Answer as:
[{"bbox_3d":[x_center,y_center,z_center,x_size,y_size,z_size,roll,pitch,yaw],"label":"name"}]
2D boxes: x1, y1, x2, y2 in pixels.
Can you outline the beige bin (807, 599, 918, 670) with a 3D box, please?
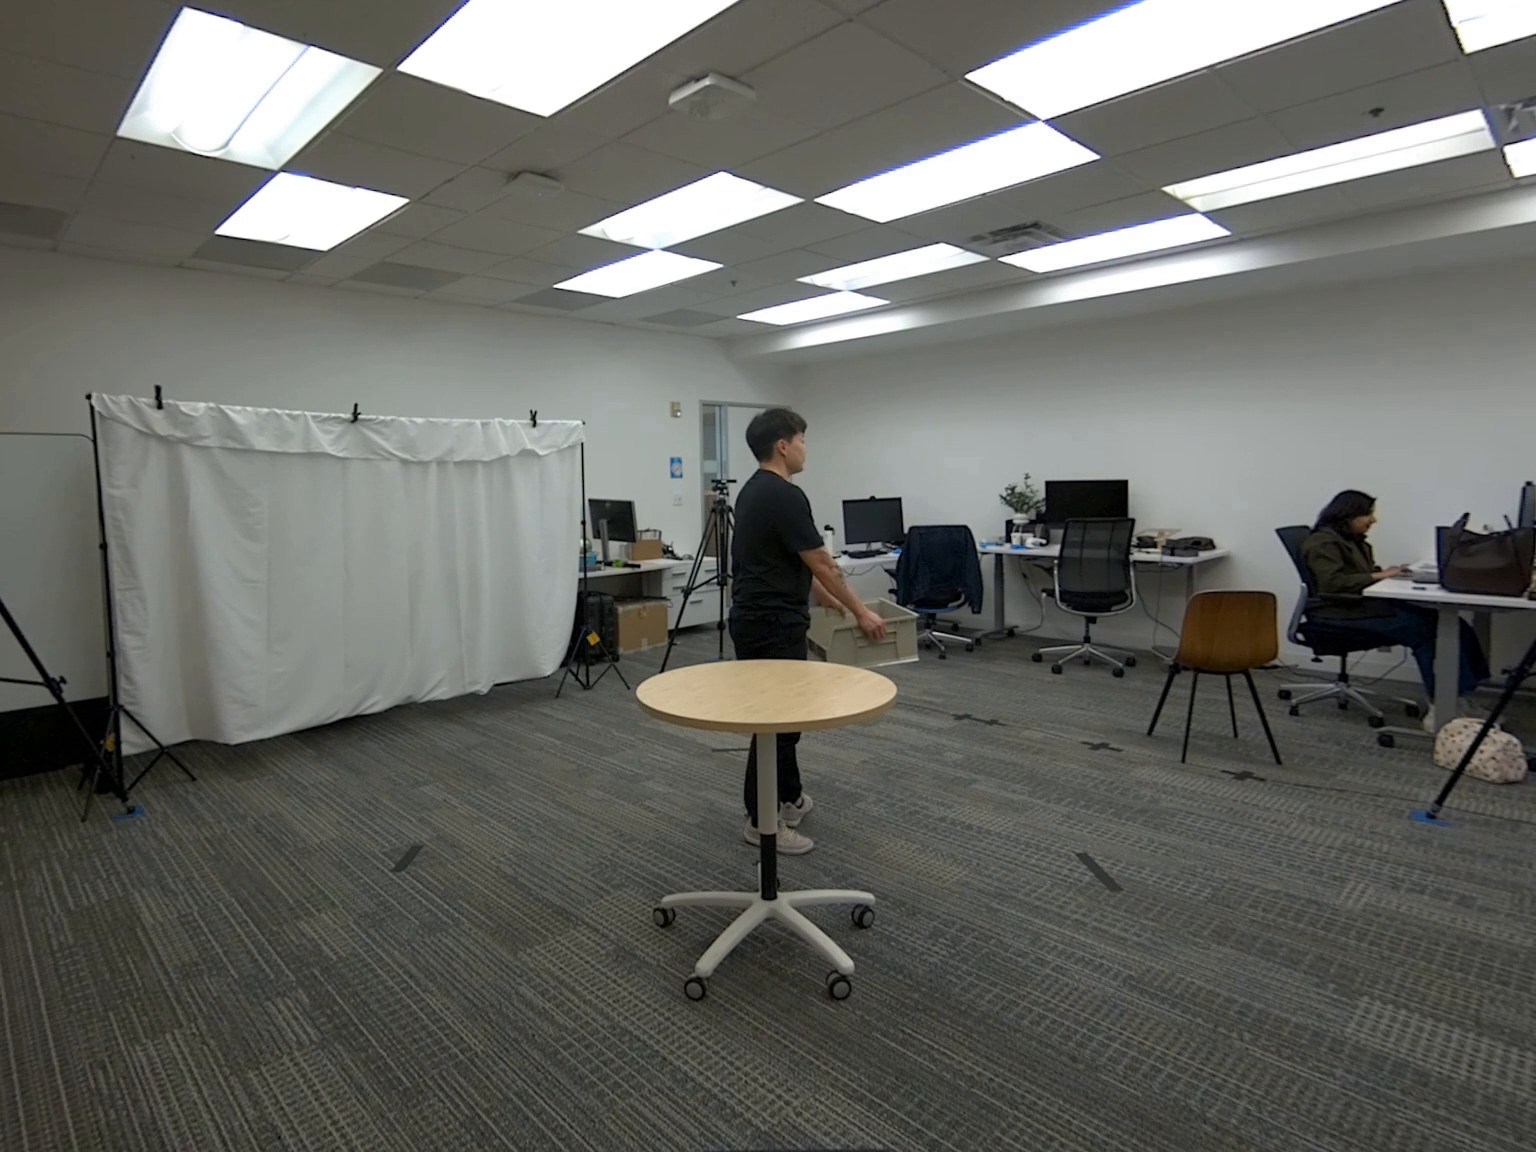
[{"bbox_3d":[0.353,0.229,3.433,0.374,0.188,0.428,-6,6,-12],"label":"beige bin"}]
